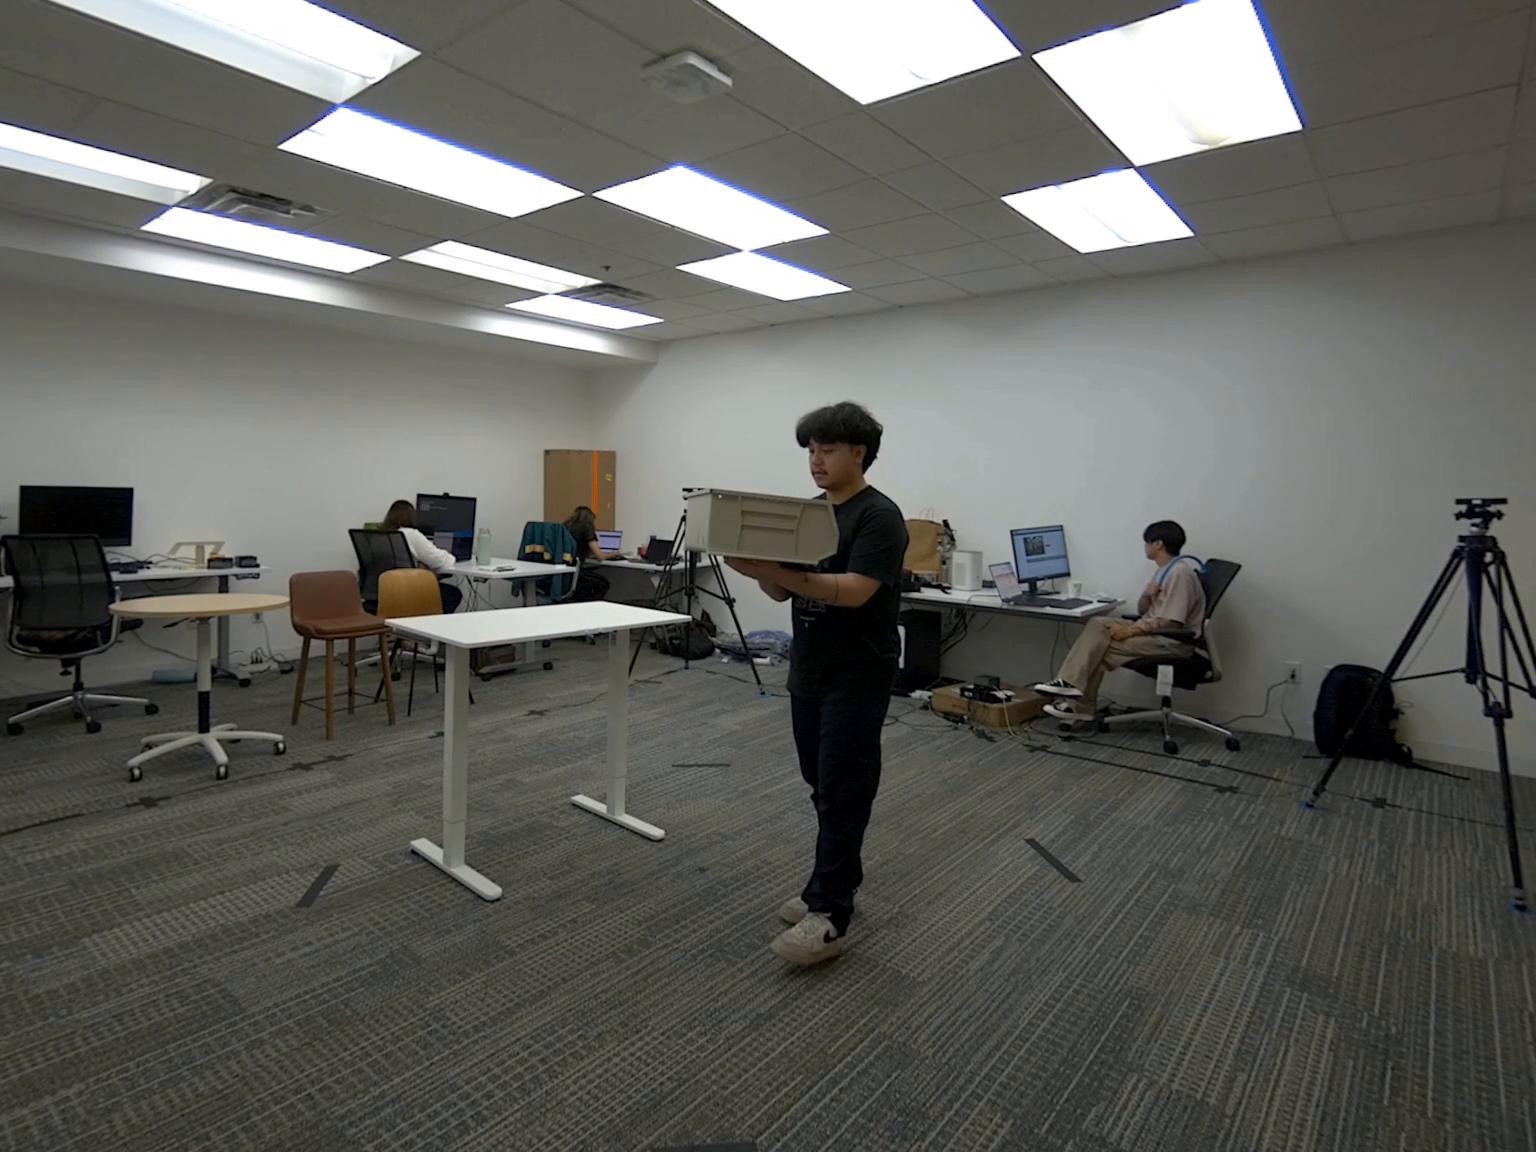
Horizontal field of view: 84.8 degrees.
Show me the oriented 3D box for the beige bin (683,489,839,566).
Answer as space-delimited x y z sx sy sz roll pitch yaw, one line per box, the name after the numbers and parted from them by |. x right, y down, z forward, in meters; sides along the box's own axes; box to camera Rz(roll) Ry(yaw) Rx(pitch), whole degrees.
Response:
-0.037 -0.140 2.523 0.372 0.188 0.430 4 4 -14 | beige bin
